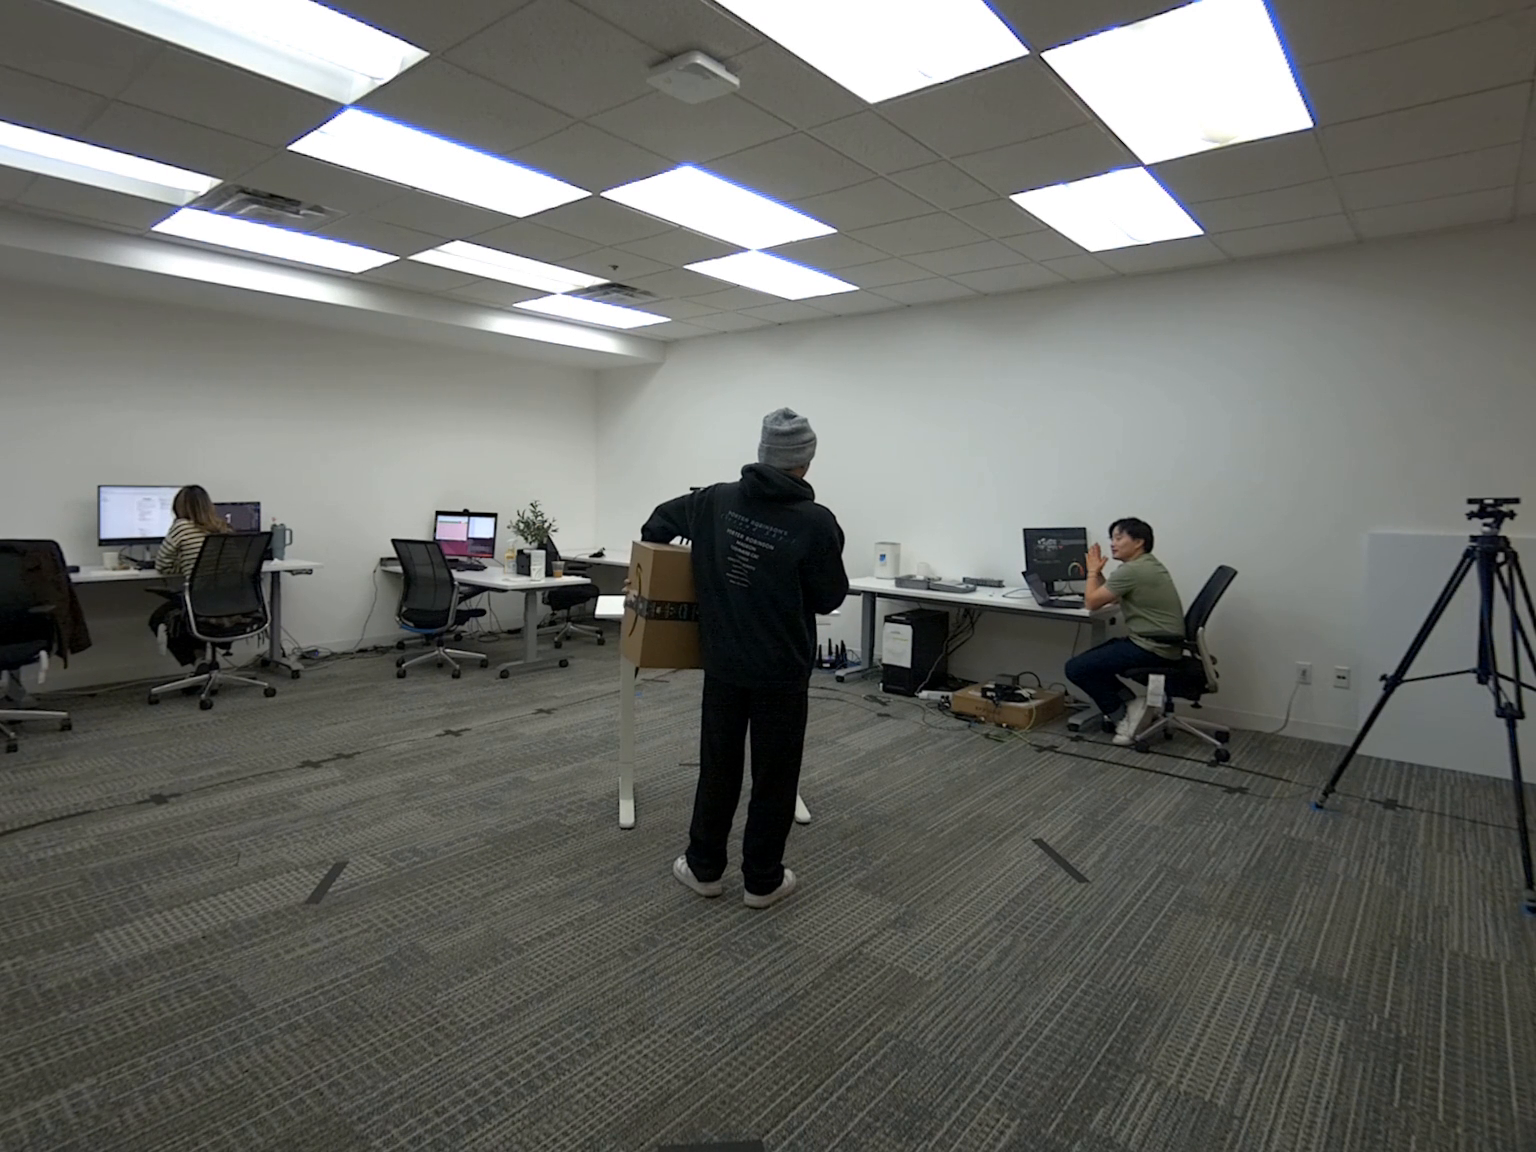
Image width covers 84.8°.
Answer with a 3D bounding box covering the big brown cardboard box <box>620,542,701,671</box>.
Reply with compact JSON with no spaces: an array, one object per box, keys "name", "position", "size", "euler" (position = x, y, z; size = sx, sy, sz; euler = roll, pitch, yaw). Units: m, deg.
[{"name":"big brown cardboard box","position":[-0.222,0.110,3.111],"size":[0.573,0.416,0.241],"euler":[4,6,-28]}]
